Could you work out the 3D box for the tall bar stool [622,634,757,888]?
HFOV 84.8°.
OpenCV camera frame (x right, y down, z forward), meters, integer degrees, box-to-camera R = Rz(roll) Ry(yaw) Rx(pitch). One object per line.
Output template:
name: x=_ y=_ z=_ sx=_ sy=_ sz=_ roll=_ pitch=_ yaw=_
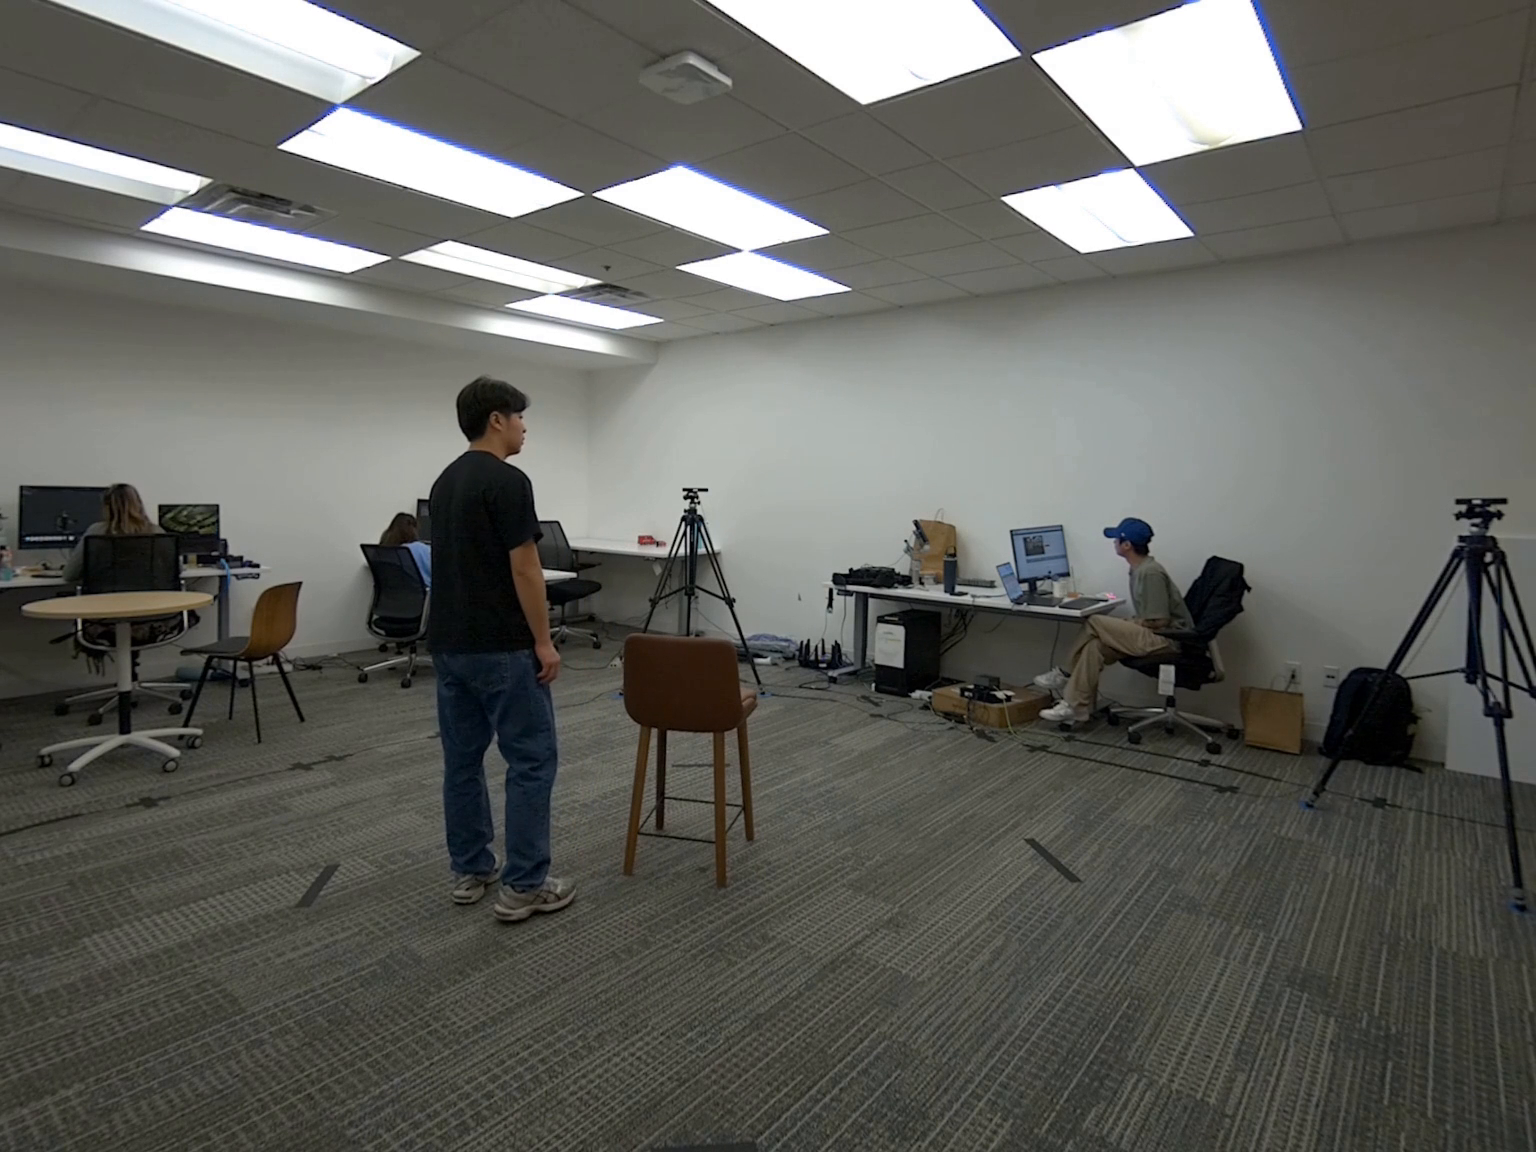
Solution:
tall bar stool: x=-0.301 y=0.627 z=3.199 sx=0.464 sy=0.886 sz=0.462 roll=1 pitch=4 yaw=14
